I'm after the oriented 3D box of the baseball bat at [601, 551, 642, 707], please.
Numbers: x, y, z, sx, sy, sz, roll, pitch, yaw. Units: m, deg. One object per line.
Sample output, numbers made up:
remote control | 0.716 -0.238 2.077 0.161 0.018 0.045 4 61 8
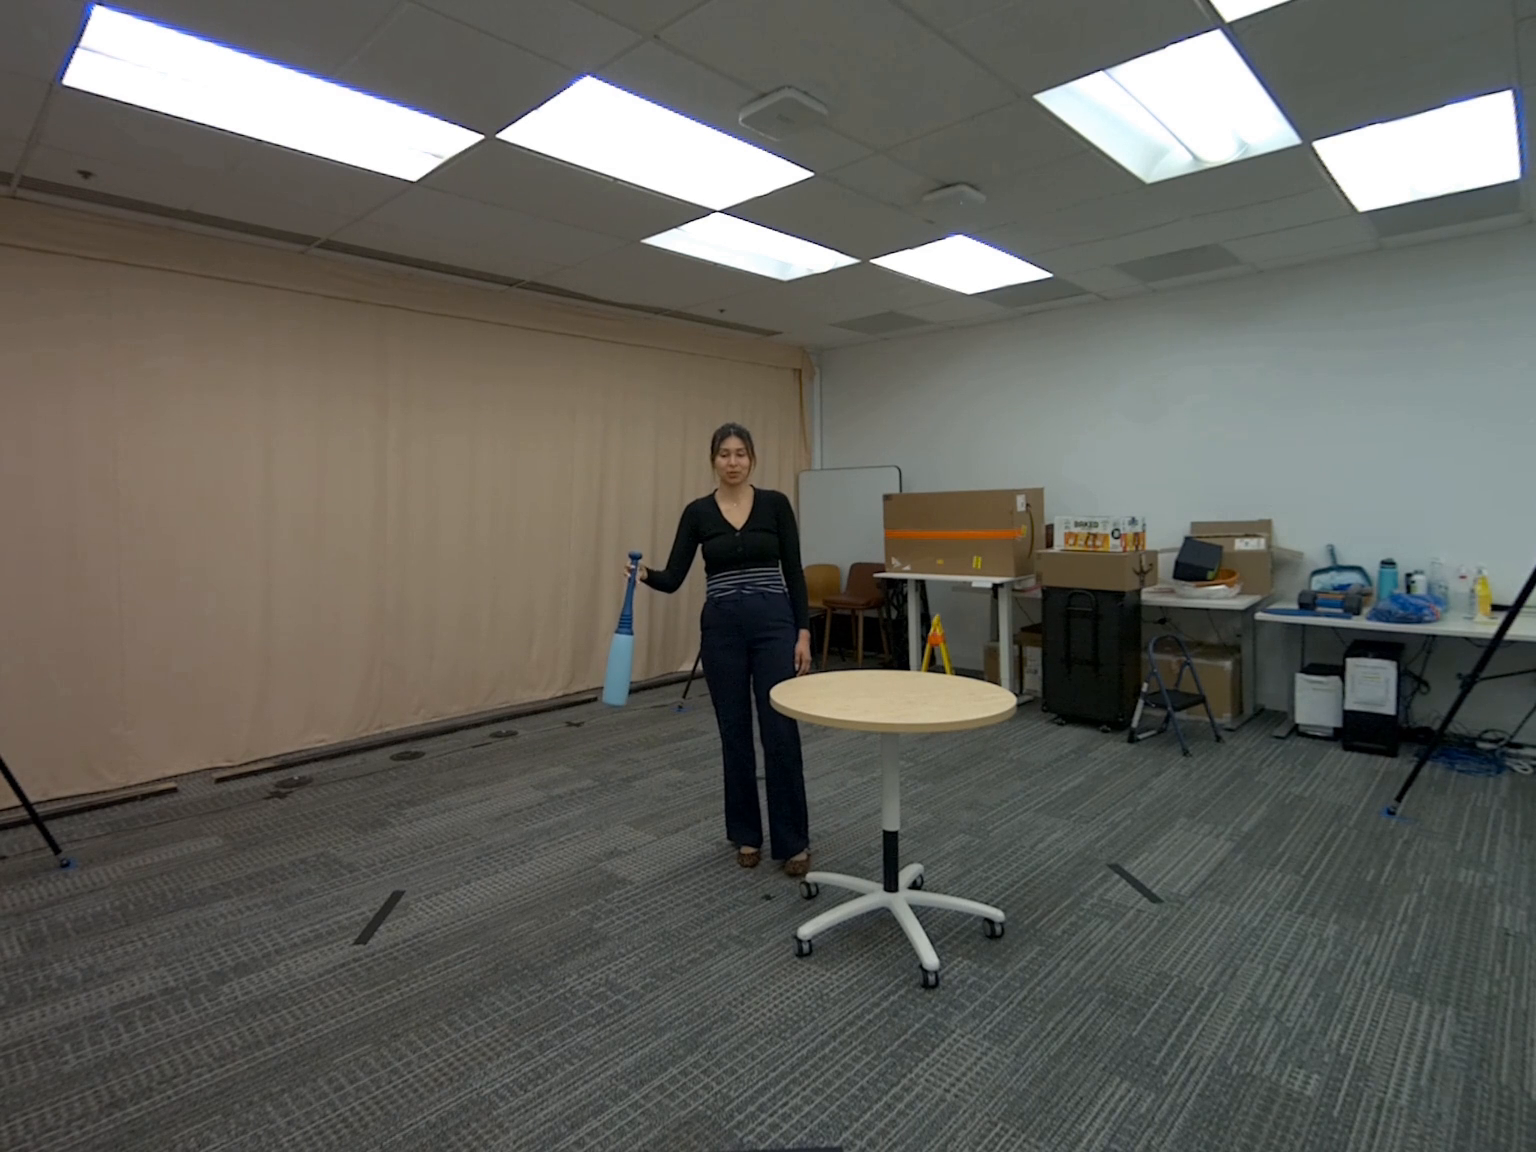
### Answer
baseball bat | -0.505 0.182 2.949 0.089 0.544 0.089 7 -5 -1
